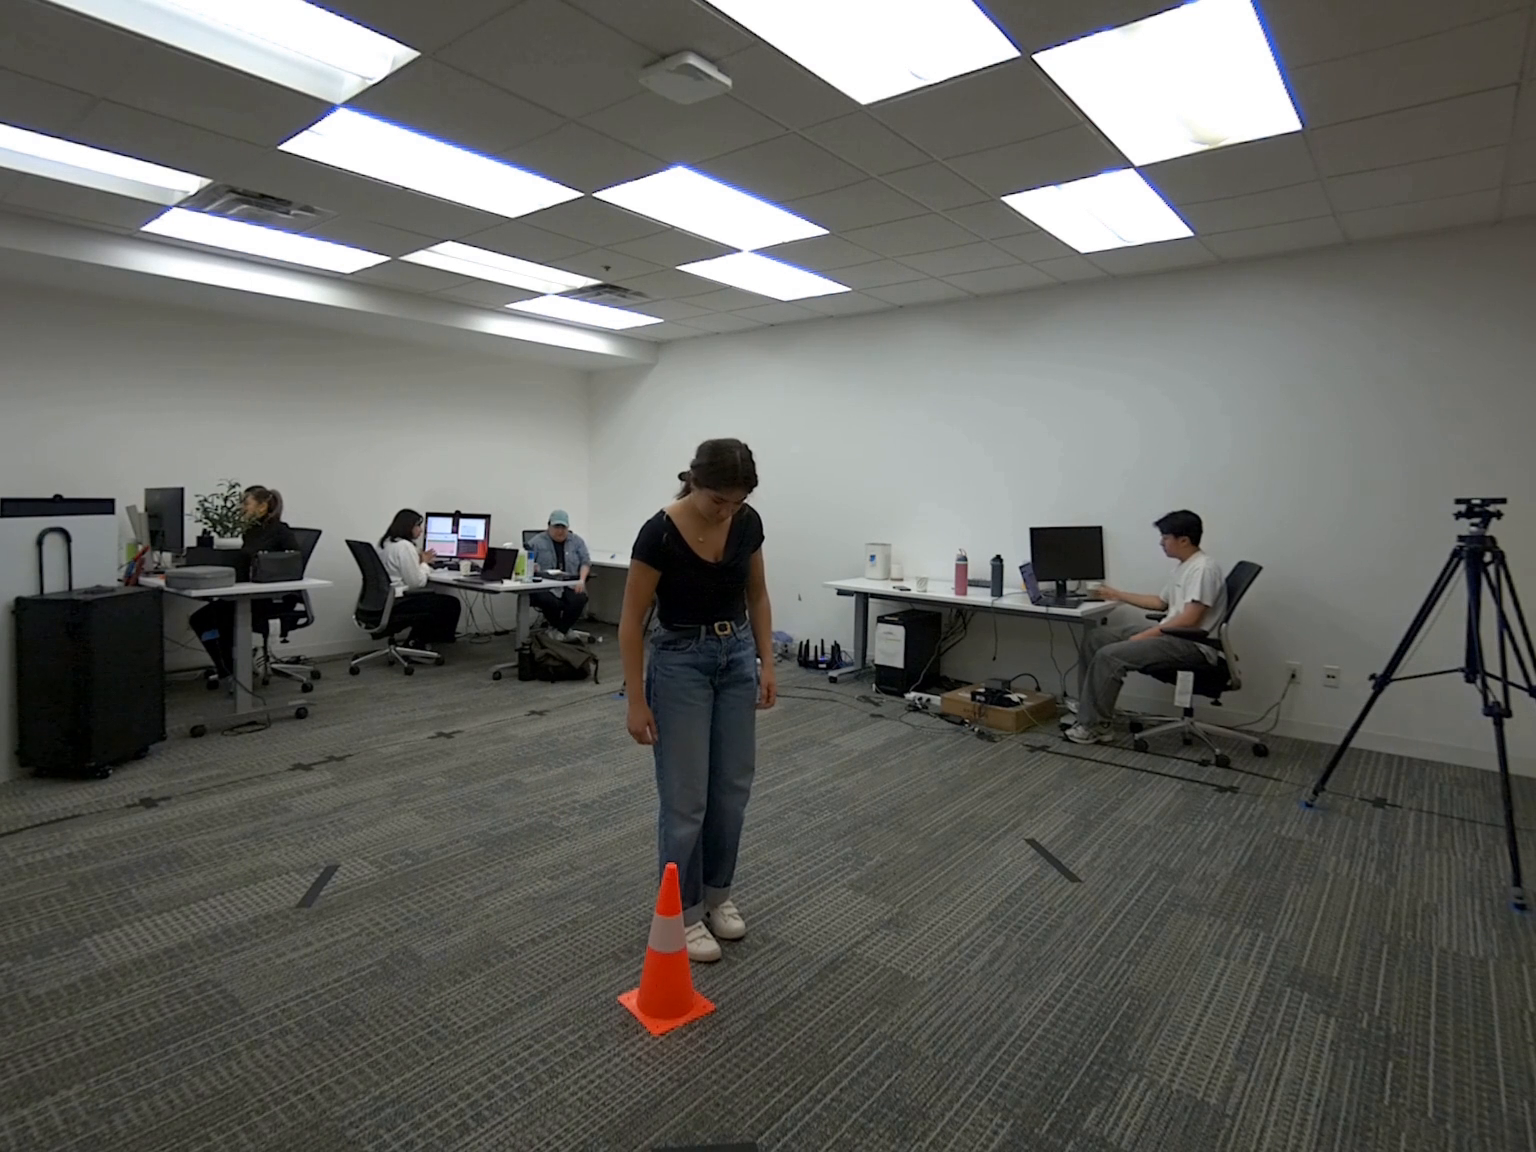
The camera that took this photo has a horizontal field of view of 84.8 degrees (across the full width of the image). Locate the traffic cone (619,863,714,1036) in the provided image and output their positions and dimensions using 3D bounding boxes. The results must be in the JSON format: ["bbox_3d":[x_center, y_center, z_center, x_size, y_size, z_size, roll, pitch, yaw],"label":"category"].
[{"bbox_3d":[-0.277,0.960,2.286,0.199,0.382,0.210,-3,4,-35],"label":"traffic cone"}]
